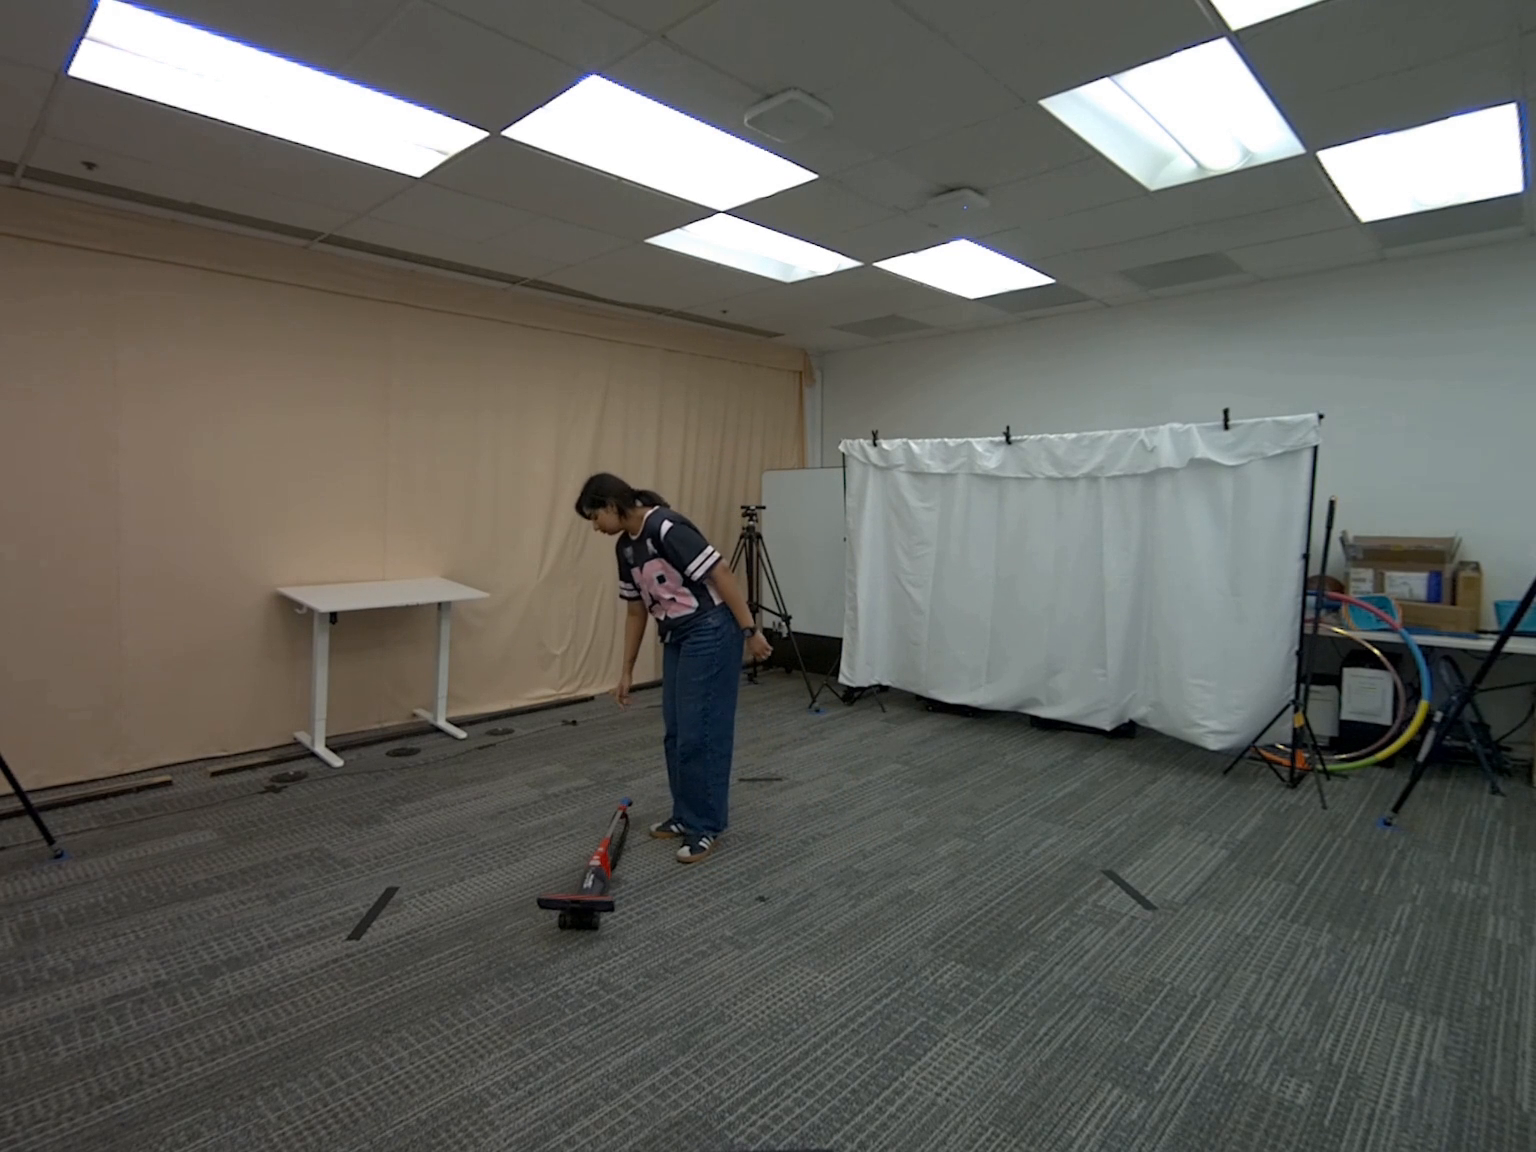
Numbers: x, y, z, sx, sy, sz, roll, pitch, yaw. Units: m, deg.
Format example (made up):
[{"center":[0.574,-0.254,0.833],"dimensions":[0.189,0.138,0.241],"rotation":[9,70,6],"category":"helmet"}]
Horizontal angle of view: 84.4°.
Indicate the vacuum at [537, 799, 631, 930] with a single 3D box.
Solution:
[{"center":[-0.622,1.062,3.267],"dimensions":[0.253,0.144,1.050],"rotation":[0,4,-1],"category":"vacuum"}]
